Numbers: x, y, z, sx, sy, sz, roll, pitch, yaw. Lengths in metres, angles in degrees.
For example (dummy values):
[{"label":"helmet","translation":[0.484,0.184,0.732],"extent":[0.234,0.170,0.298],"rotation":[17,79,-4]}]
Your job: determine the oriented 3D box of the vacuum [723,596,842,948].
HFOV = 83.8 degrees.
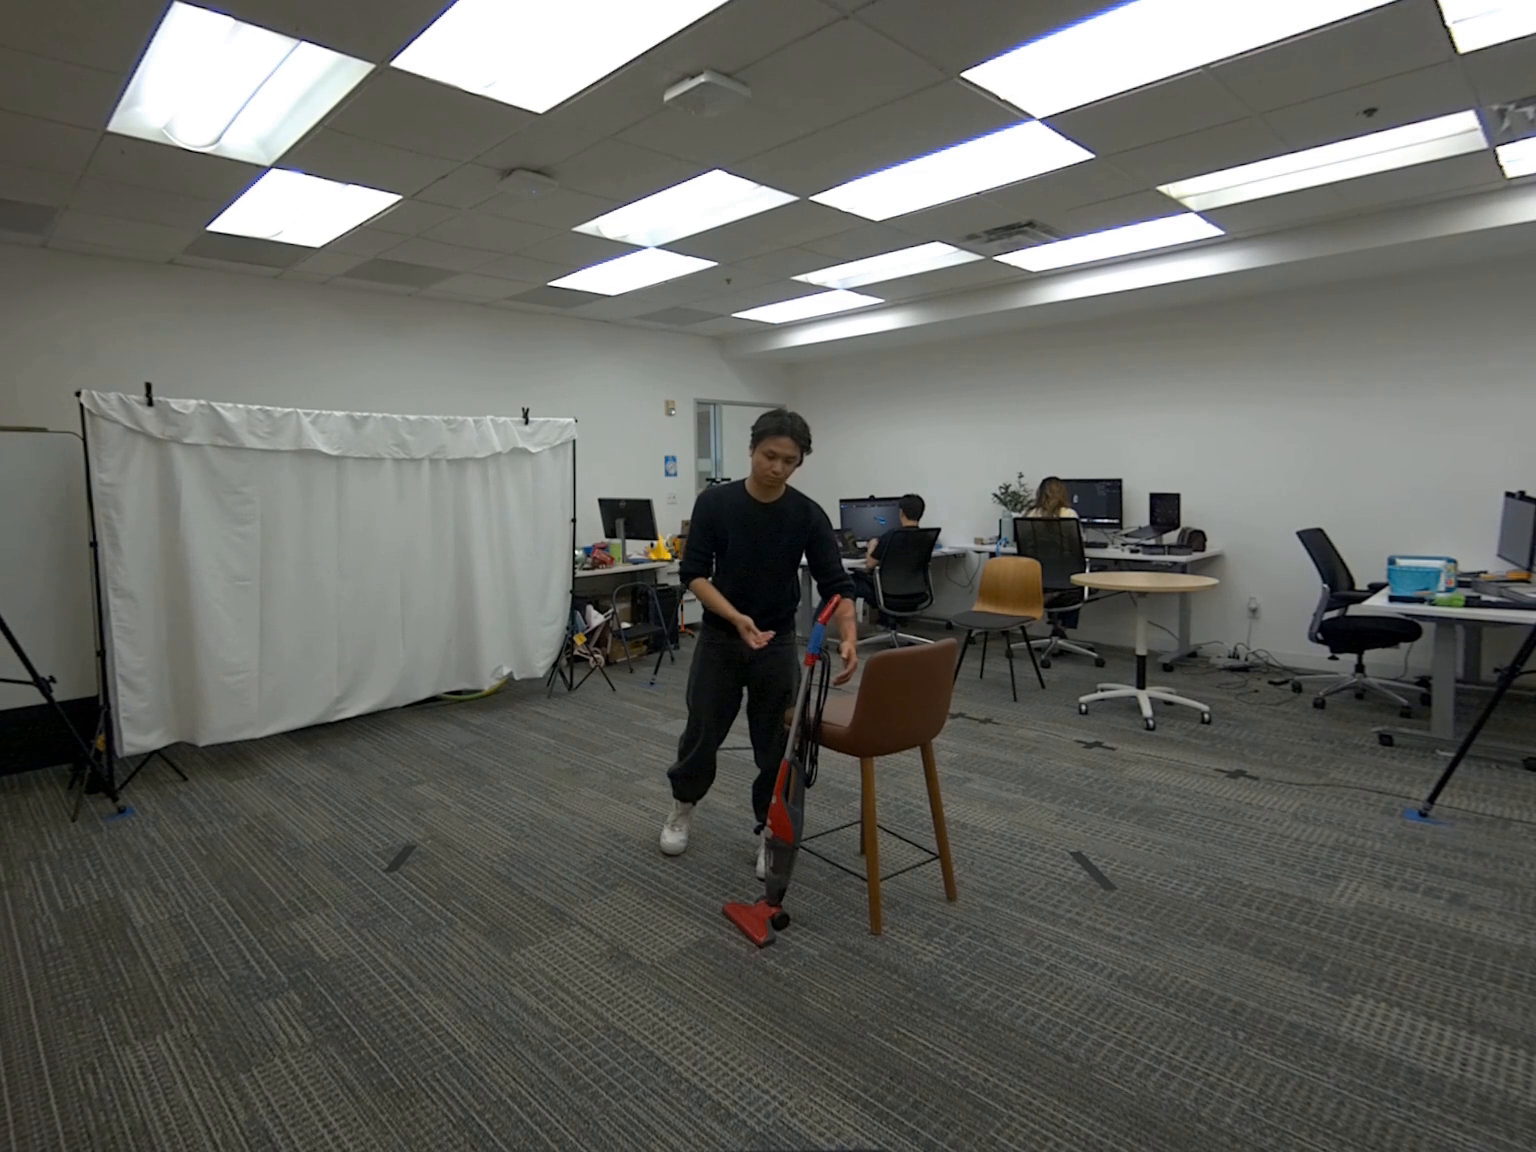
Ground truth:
[{"label":"vacuum","translation":[0.100,0.587,2.718],"extent":[0.139,1.053,0.260],"rotation":[15,-6,-33]}]
